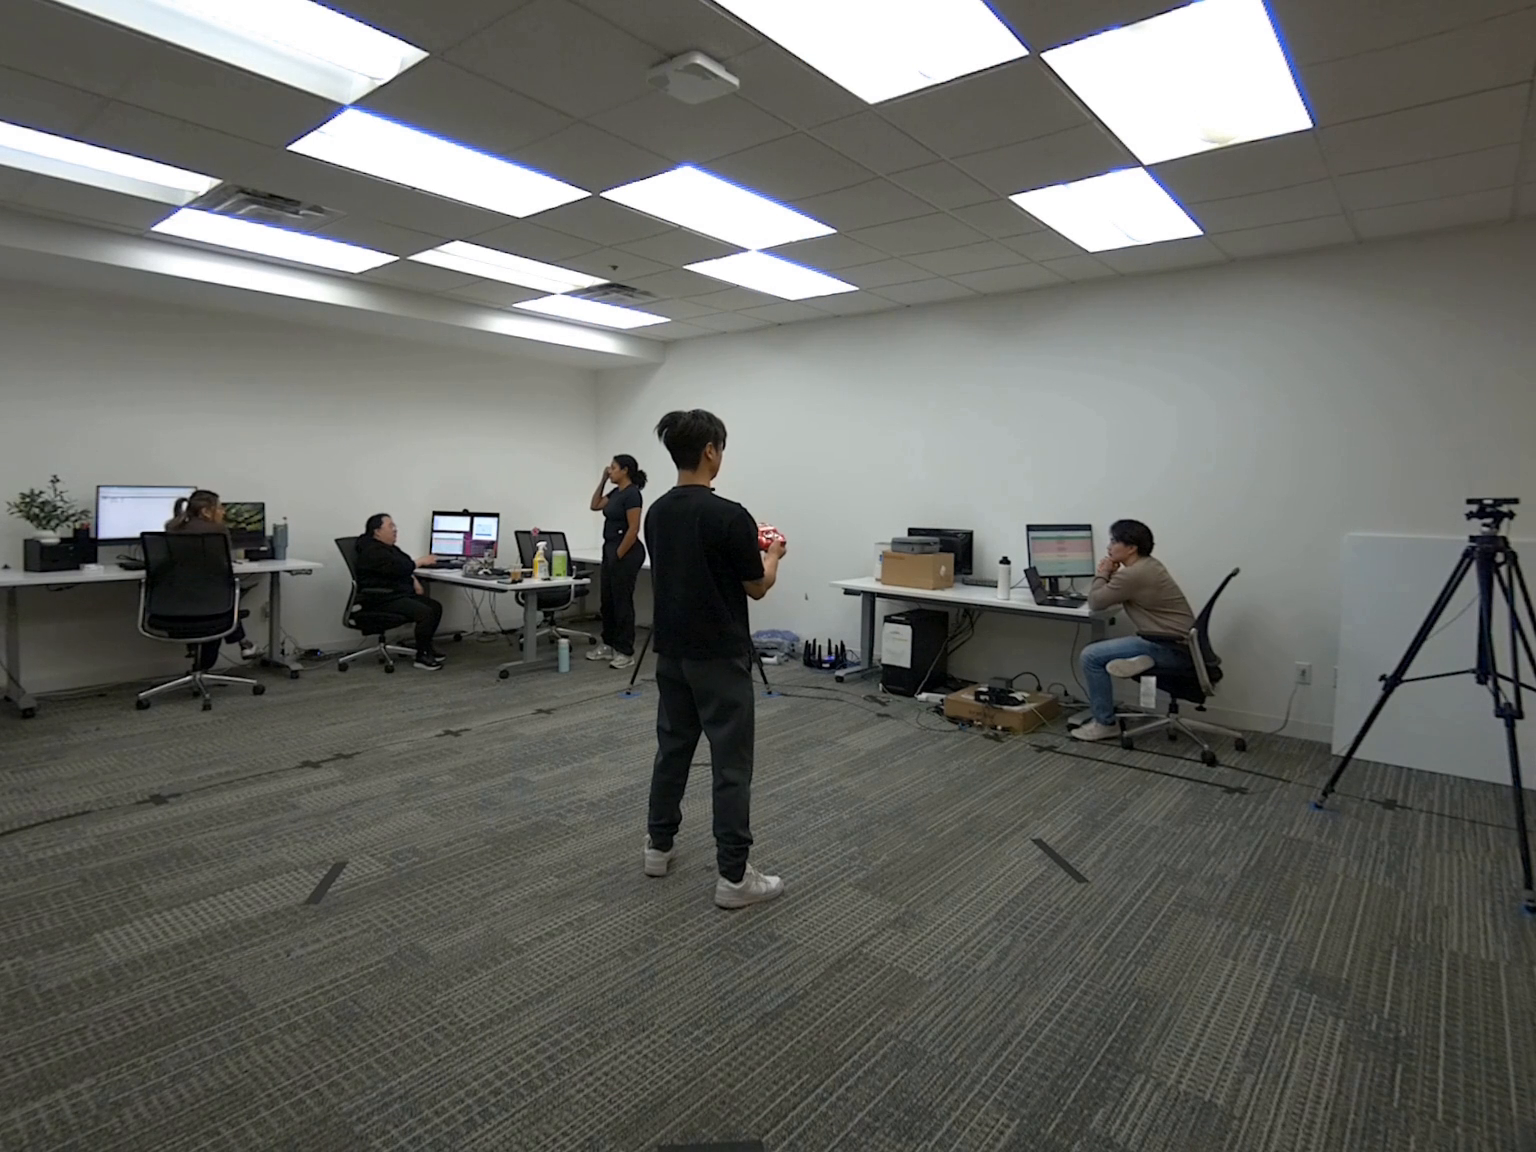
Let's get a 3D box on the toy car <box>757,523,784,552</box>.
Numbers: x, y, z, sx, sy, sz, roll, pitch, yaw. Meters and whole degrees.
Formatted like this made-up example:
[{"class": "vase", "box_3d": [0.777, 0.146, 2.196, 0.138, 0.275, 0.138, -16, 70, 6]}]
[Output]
[{"class": "toy car", "box_3d": [-0.021, -0.153, 3.299, 0.129, 0.082, 0.261, -9, 13, -14]}]
